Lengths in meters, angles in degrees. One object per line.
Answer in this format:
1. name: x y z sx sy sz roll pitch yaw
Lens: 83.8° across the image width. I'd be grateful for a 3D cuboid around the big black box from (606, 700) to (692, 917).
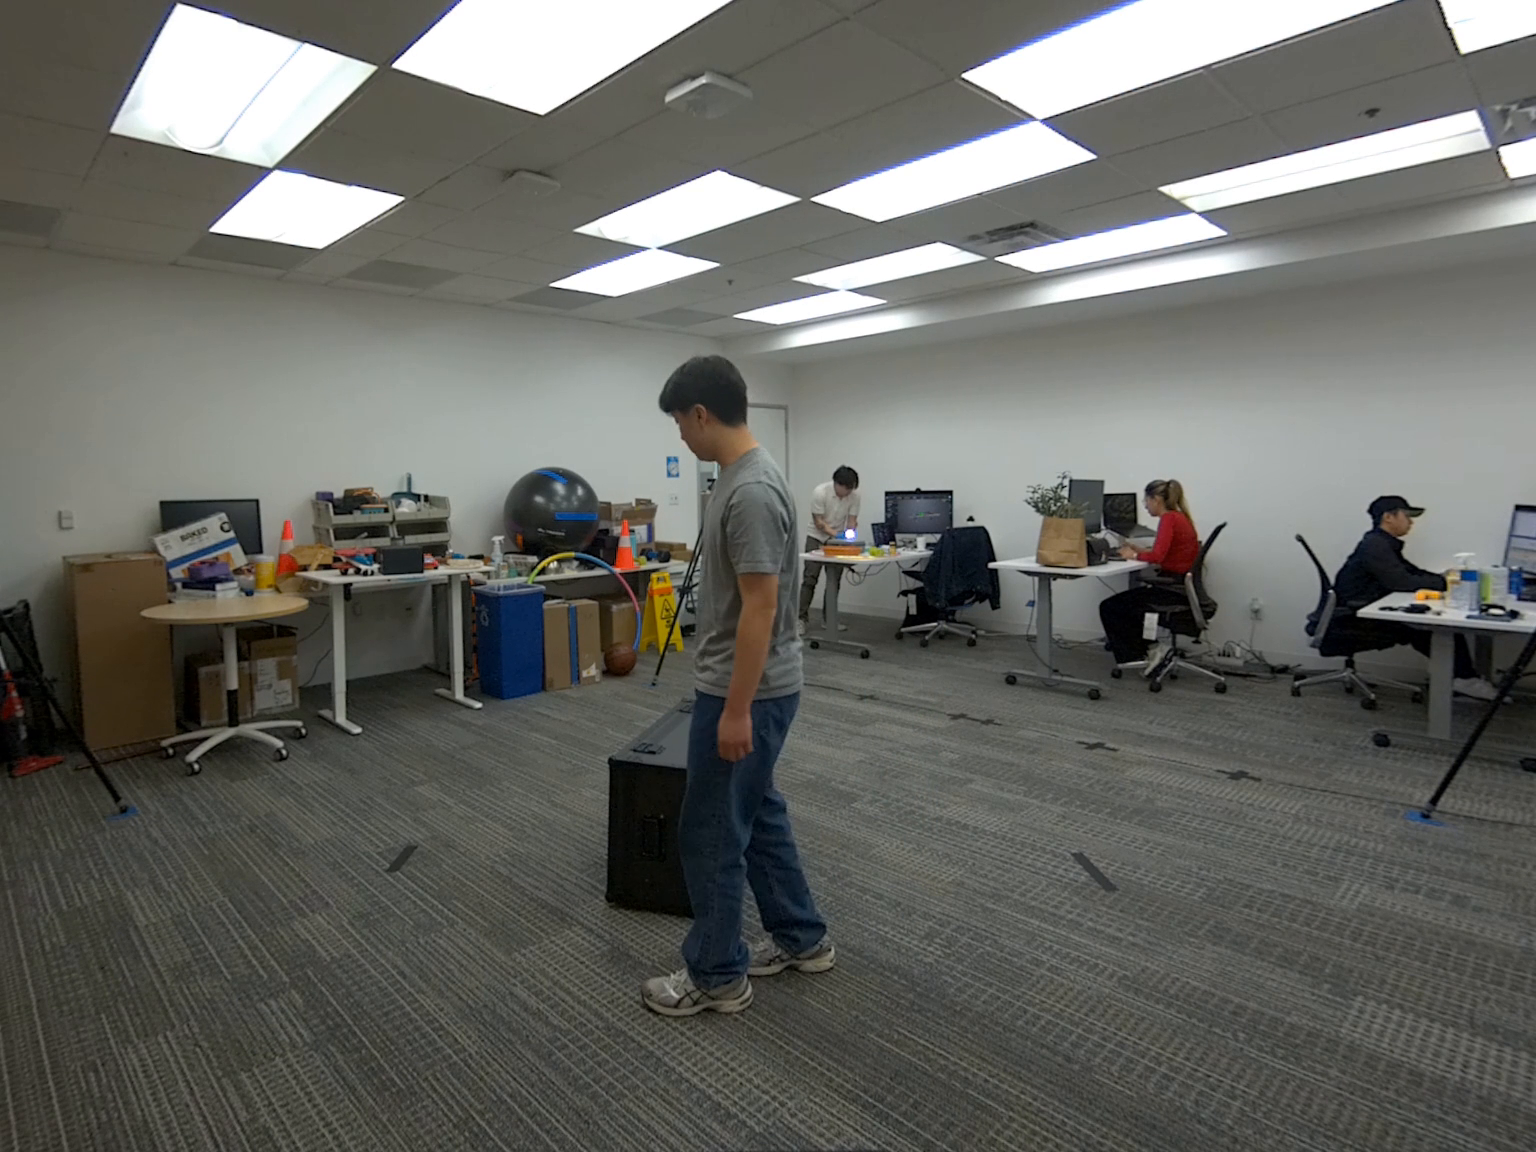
1. big black box: -0.244 0.787 3.137 0.402 0.519 0.853 3 6 13
